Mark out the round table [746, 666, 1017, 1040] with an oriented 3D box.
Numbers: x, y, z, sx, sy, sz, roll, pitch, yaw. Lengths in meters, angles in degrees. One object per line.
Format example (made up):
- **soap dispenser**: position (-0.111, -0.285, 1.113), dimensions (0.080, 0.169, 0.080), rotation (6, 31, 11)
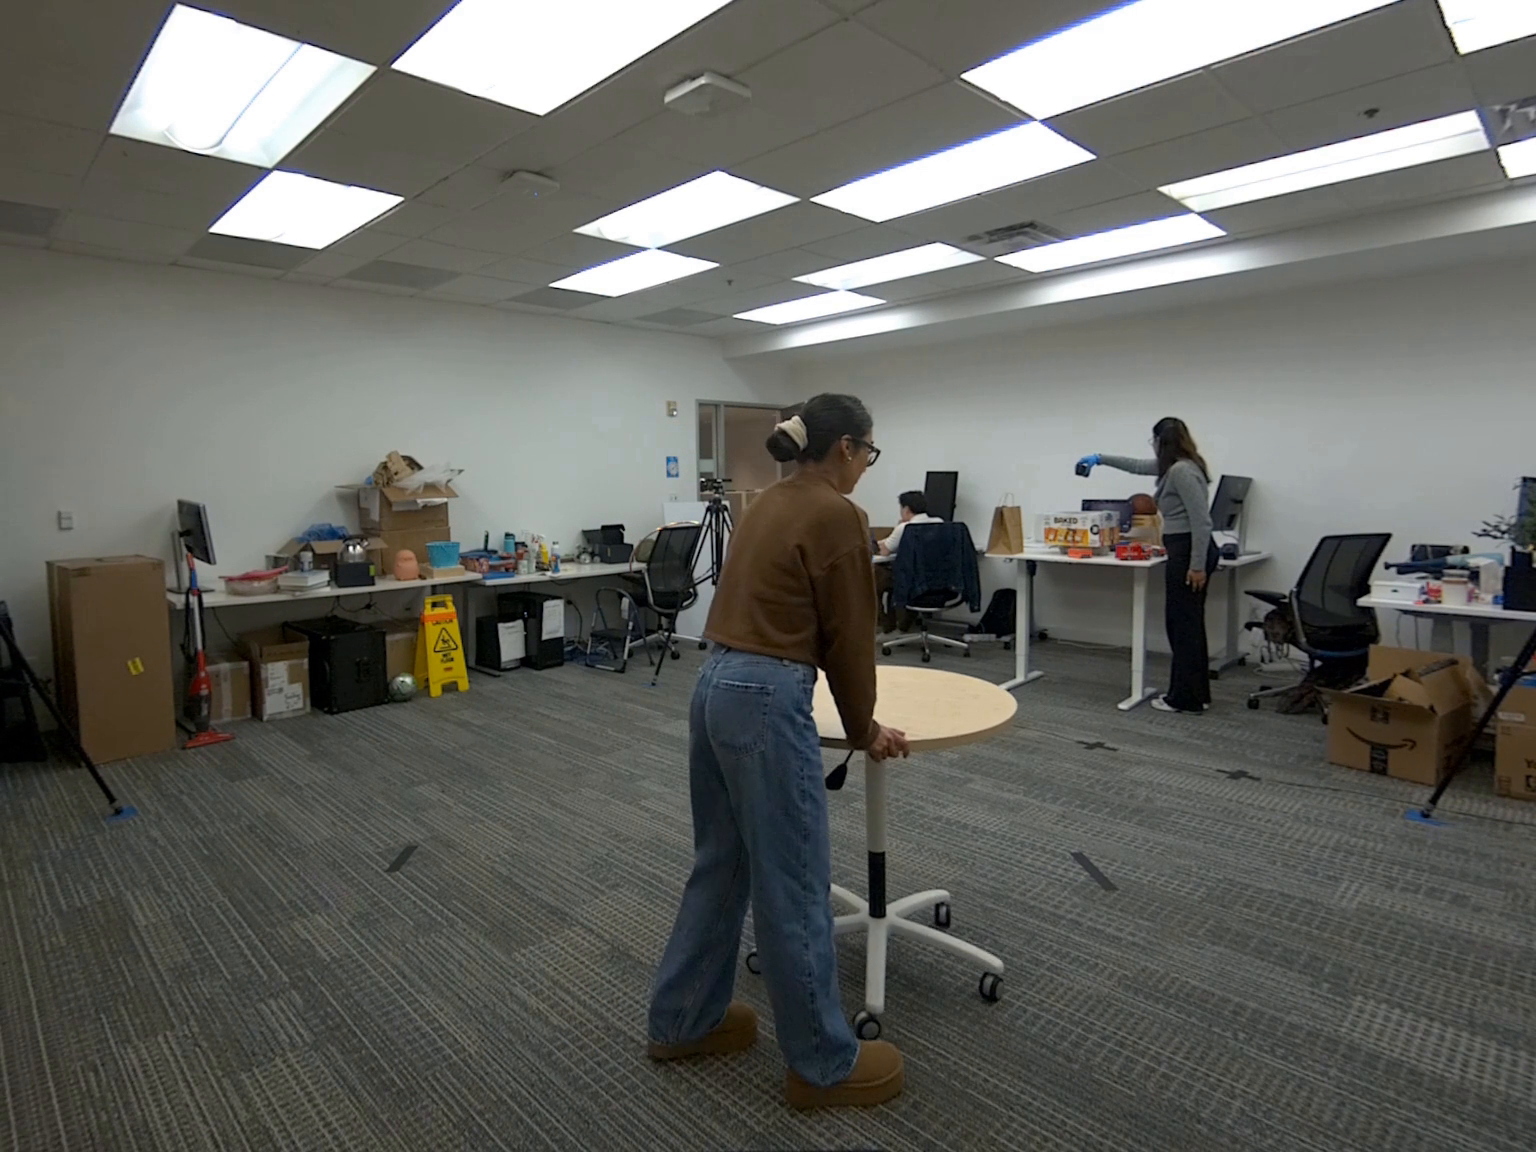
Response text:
- **round table**: position (0.318, 0.732, 2.435), dimensions (0.763, 0.790, 0.769), rotation (-2, 6, -2)
